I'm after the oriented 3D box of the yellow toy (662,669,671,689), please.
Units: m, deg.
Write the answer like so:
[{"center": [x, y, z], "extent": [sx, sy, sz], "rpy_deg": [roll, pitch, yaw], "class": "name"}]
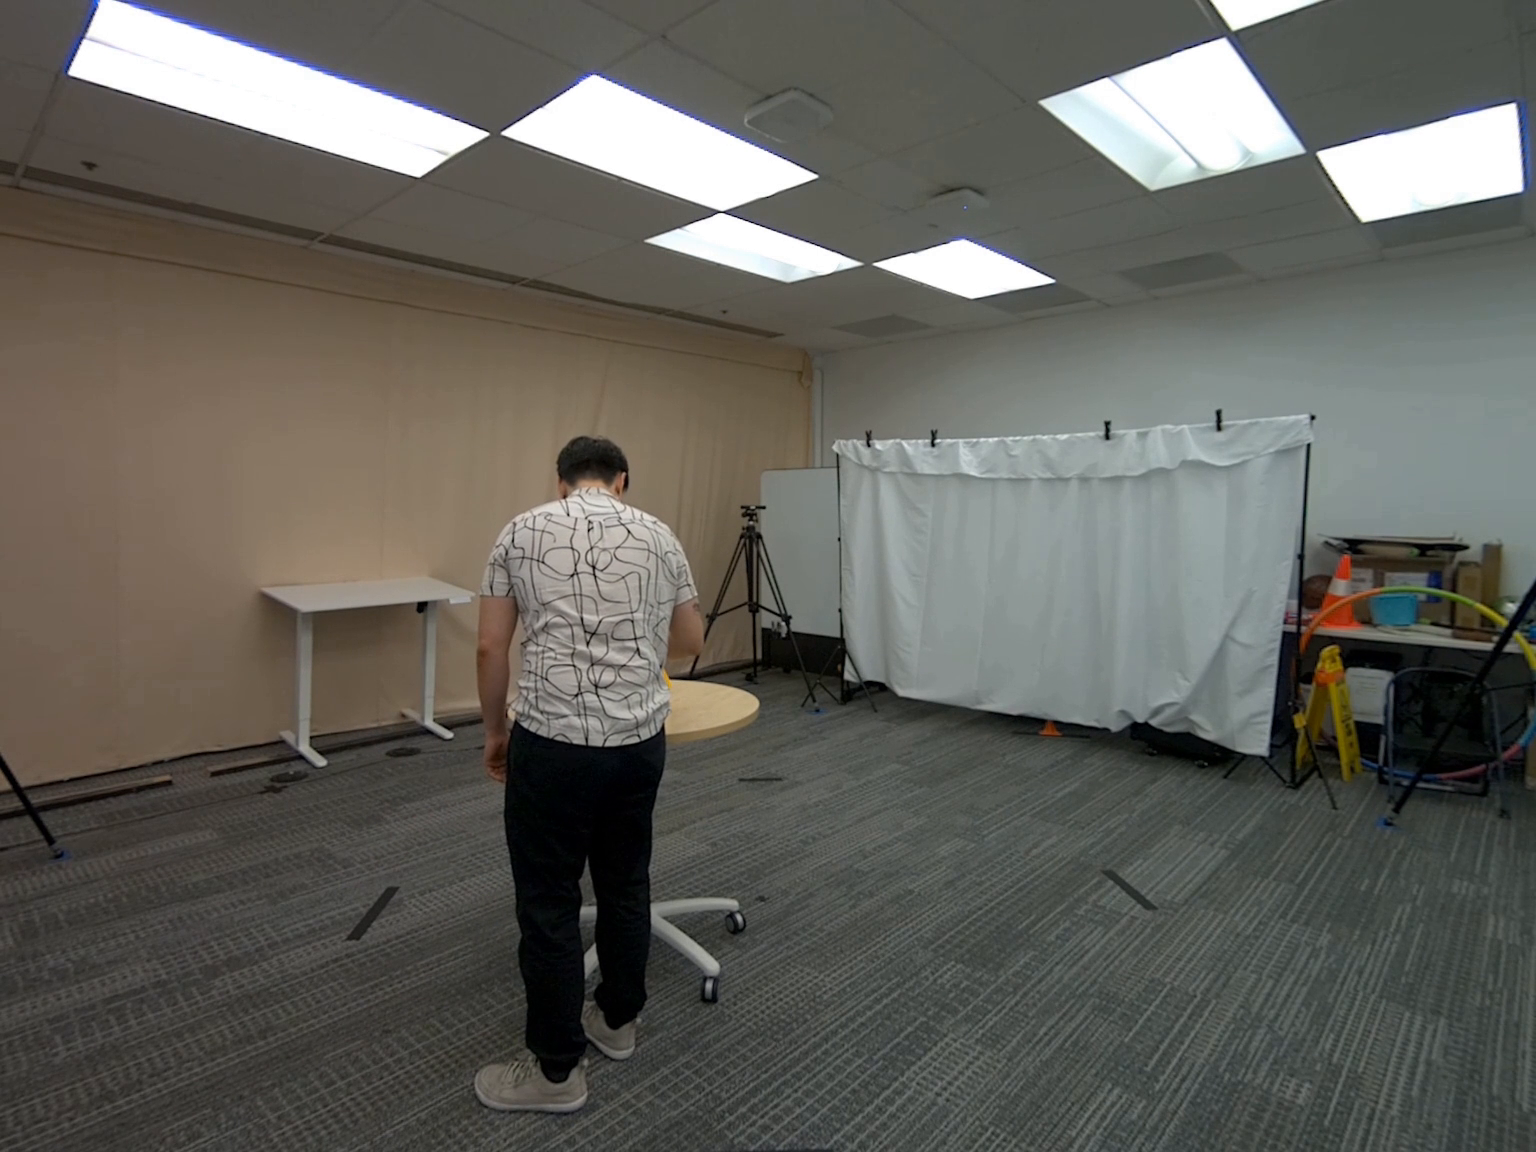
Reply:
[{"center": [-0.393, 0.287, 2.533], "extent": [0.203, 0.230, 0.195], "rpy_deg": [-1, 3, -9], "class": "yellow toy"}]
